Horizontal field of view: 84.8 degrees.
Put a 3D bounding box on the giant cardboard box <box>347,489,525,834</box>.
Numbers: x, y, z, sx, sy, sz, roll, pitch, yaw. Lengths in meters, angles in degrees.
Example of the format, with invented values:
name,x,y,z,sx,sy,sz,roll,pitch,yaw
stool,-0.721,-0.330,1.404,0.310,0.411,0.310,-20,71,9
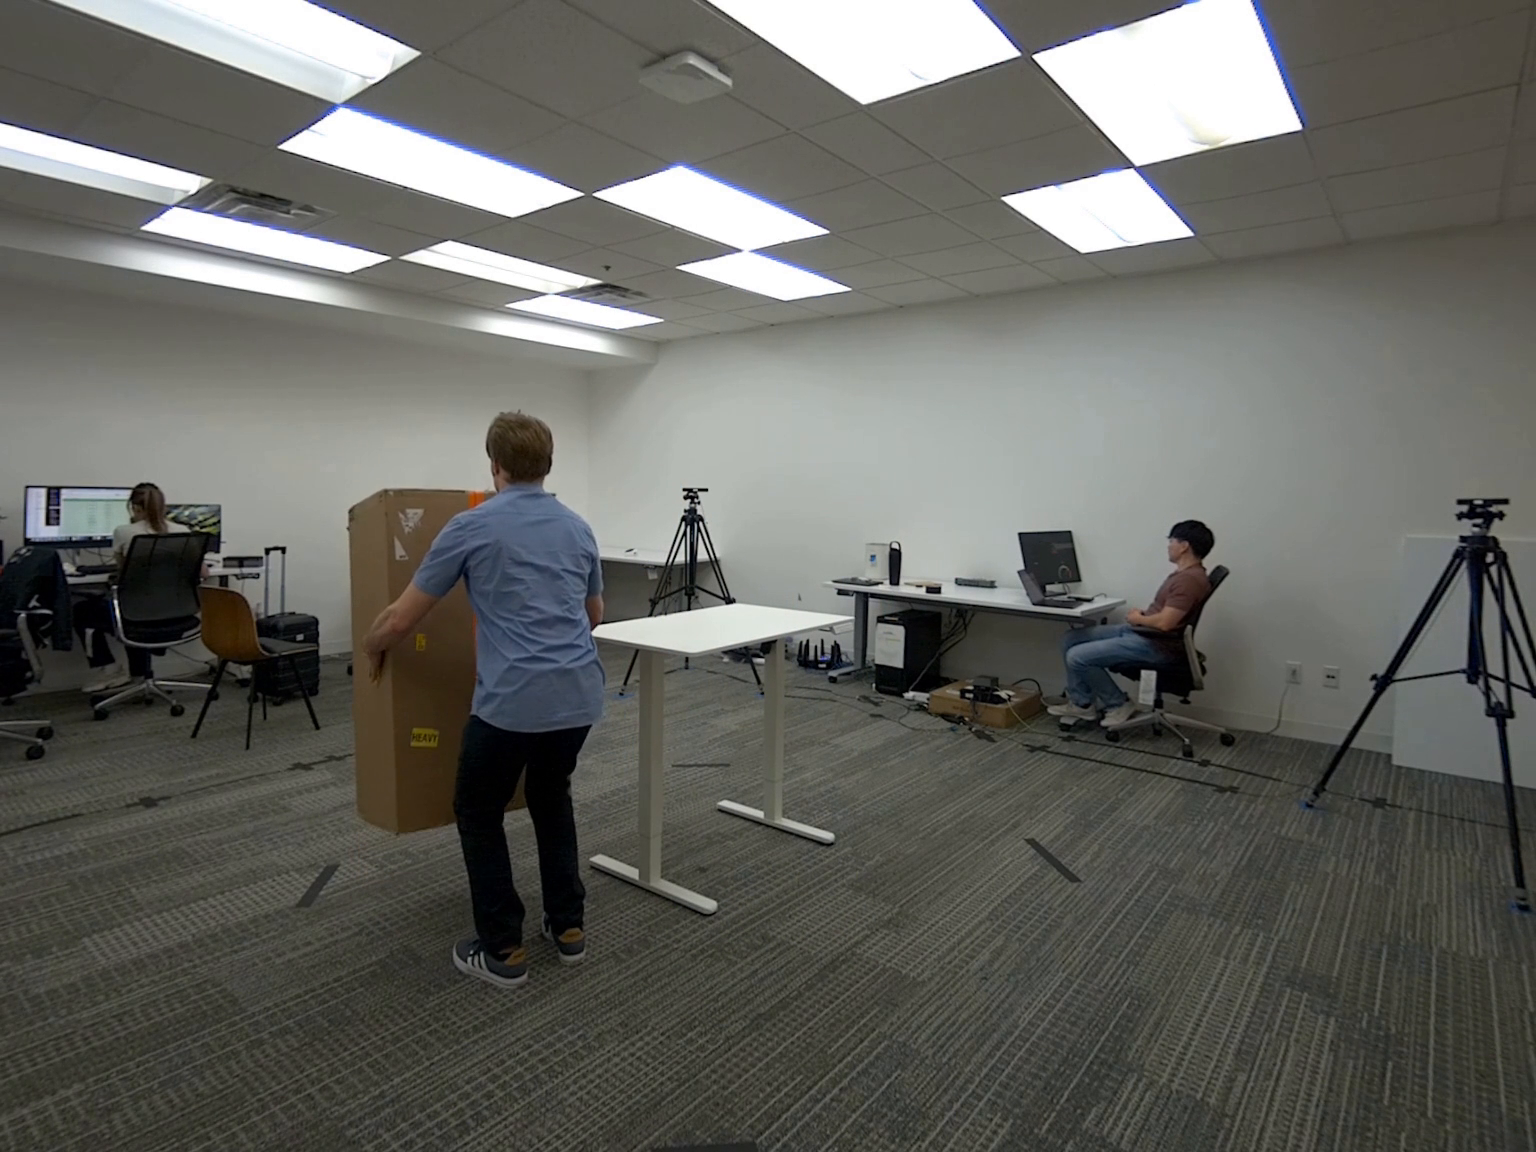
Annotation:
name,x,y,z,sx,sy,sz,roll,pitch,yaw
giant cardboard box,-1.050,0.251,2.850,0.560,1.032,0.437,0,-7,-39
